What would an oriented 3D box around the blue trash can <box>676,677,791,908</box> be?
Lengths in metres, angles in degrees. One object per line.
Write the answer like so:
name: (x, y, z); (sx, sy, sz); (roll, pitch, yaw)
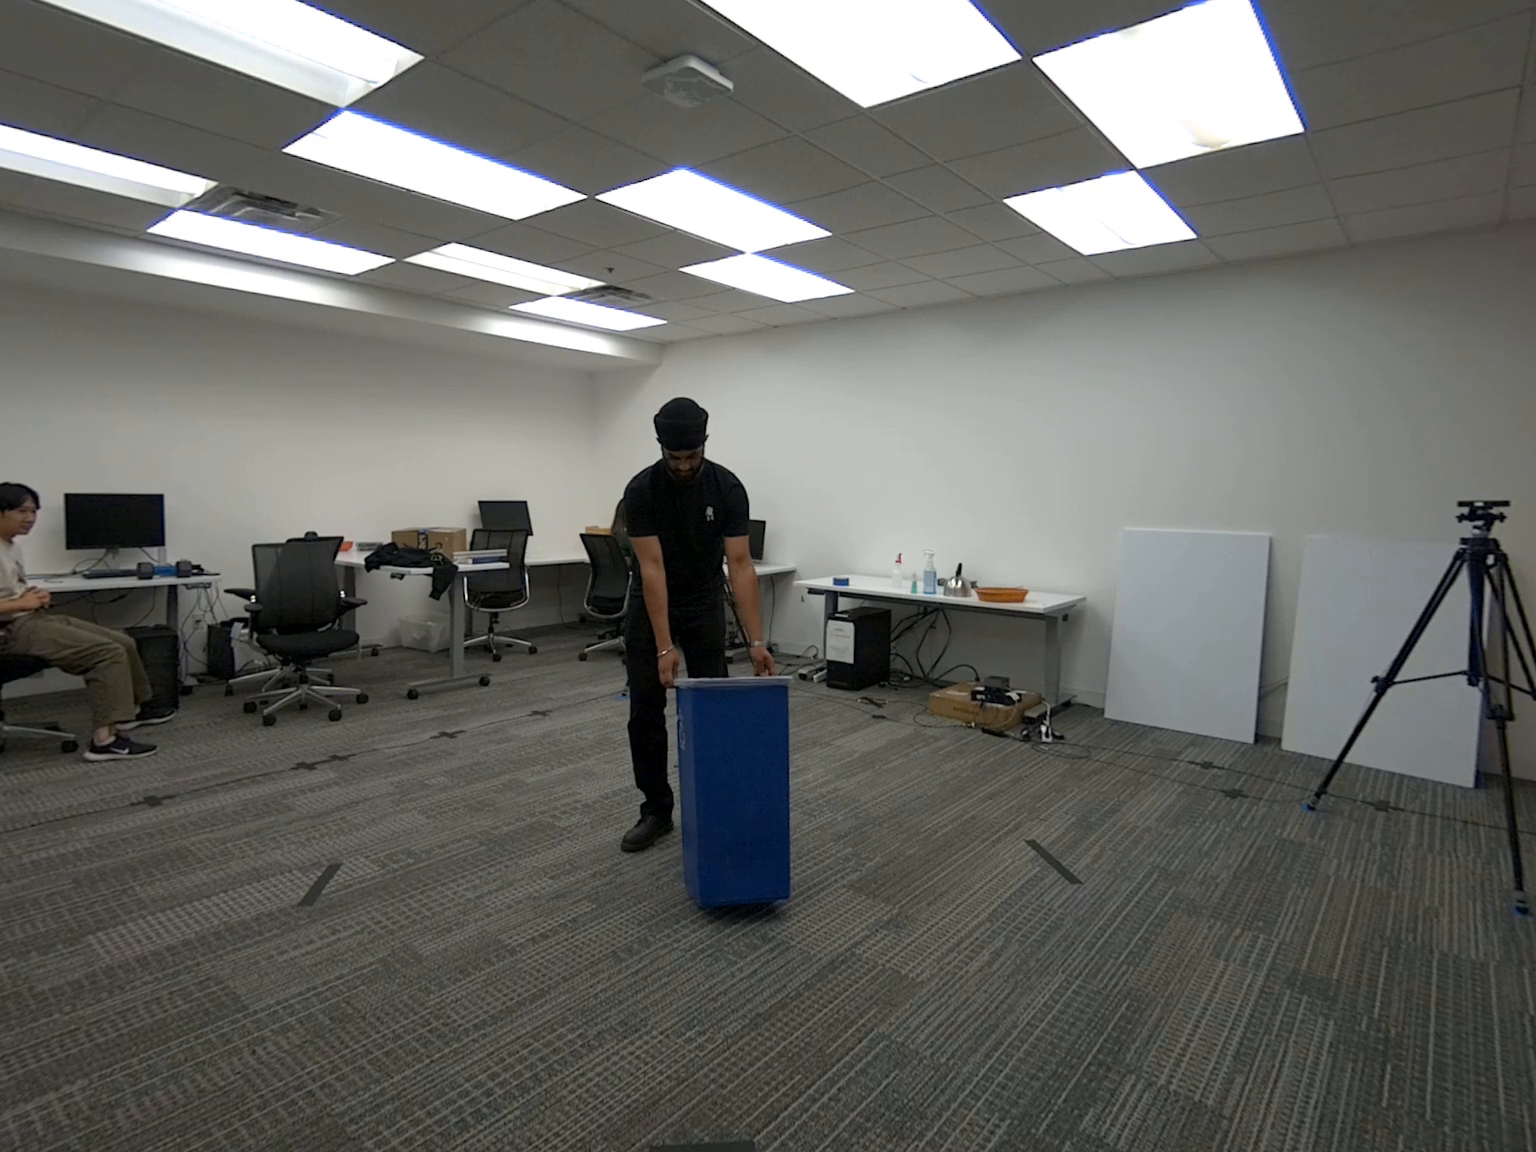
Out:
blue trash can: (-0.138, 0.711, 2.940); (0.372, 0.720, 0.376); (1, -9, -15)
